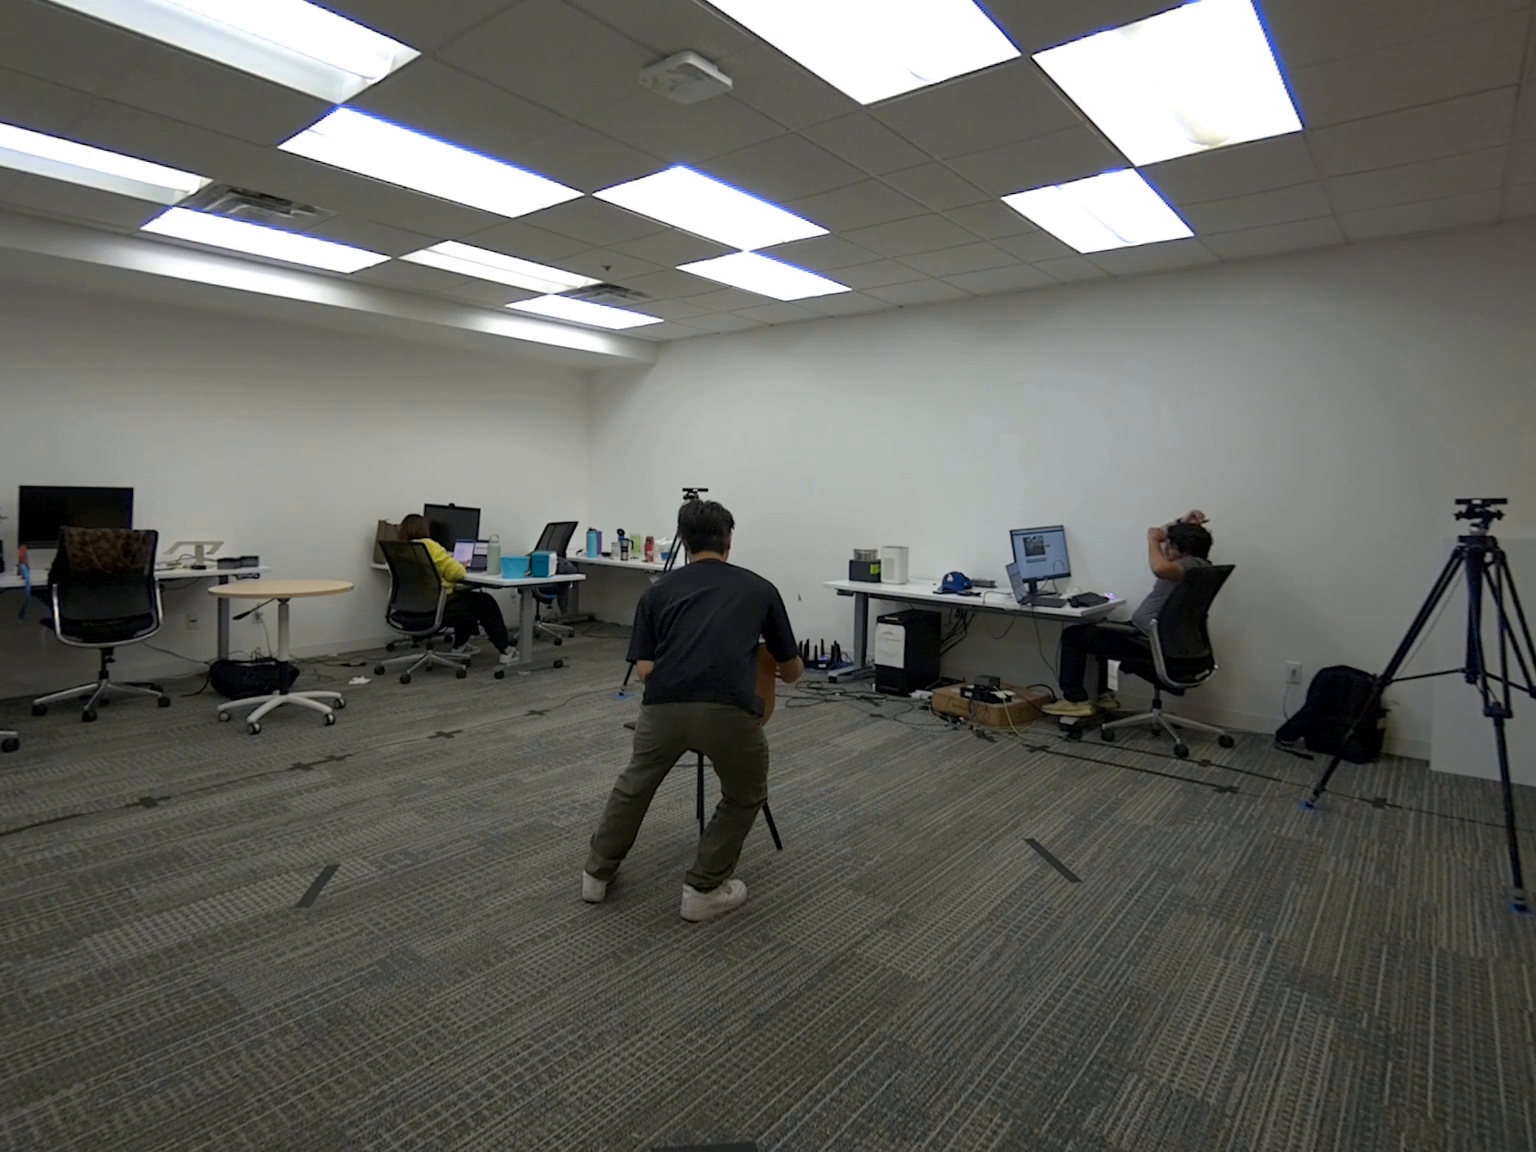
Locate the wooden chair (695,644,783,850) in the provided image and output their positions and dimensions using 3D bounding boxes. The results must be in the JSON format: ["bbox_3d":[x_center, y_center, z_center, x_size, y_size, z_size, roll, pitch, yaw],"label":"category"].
[{"bbox_3d":[-0.263,0.621,3.269,0.542,0.873,0.464,10,8,40],"label":"wooden chair"}]
